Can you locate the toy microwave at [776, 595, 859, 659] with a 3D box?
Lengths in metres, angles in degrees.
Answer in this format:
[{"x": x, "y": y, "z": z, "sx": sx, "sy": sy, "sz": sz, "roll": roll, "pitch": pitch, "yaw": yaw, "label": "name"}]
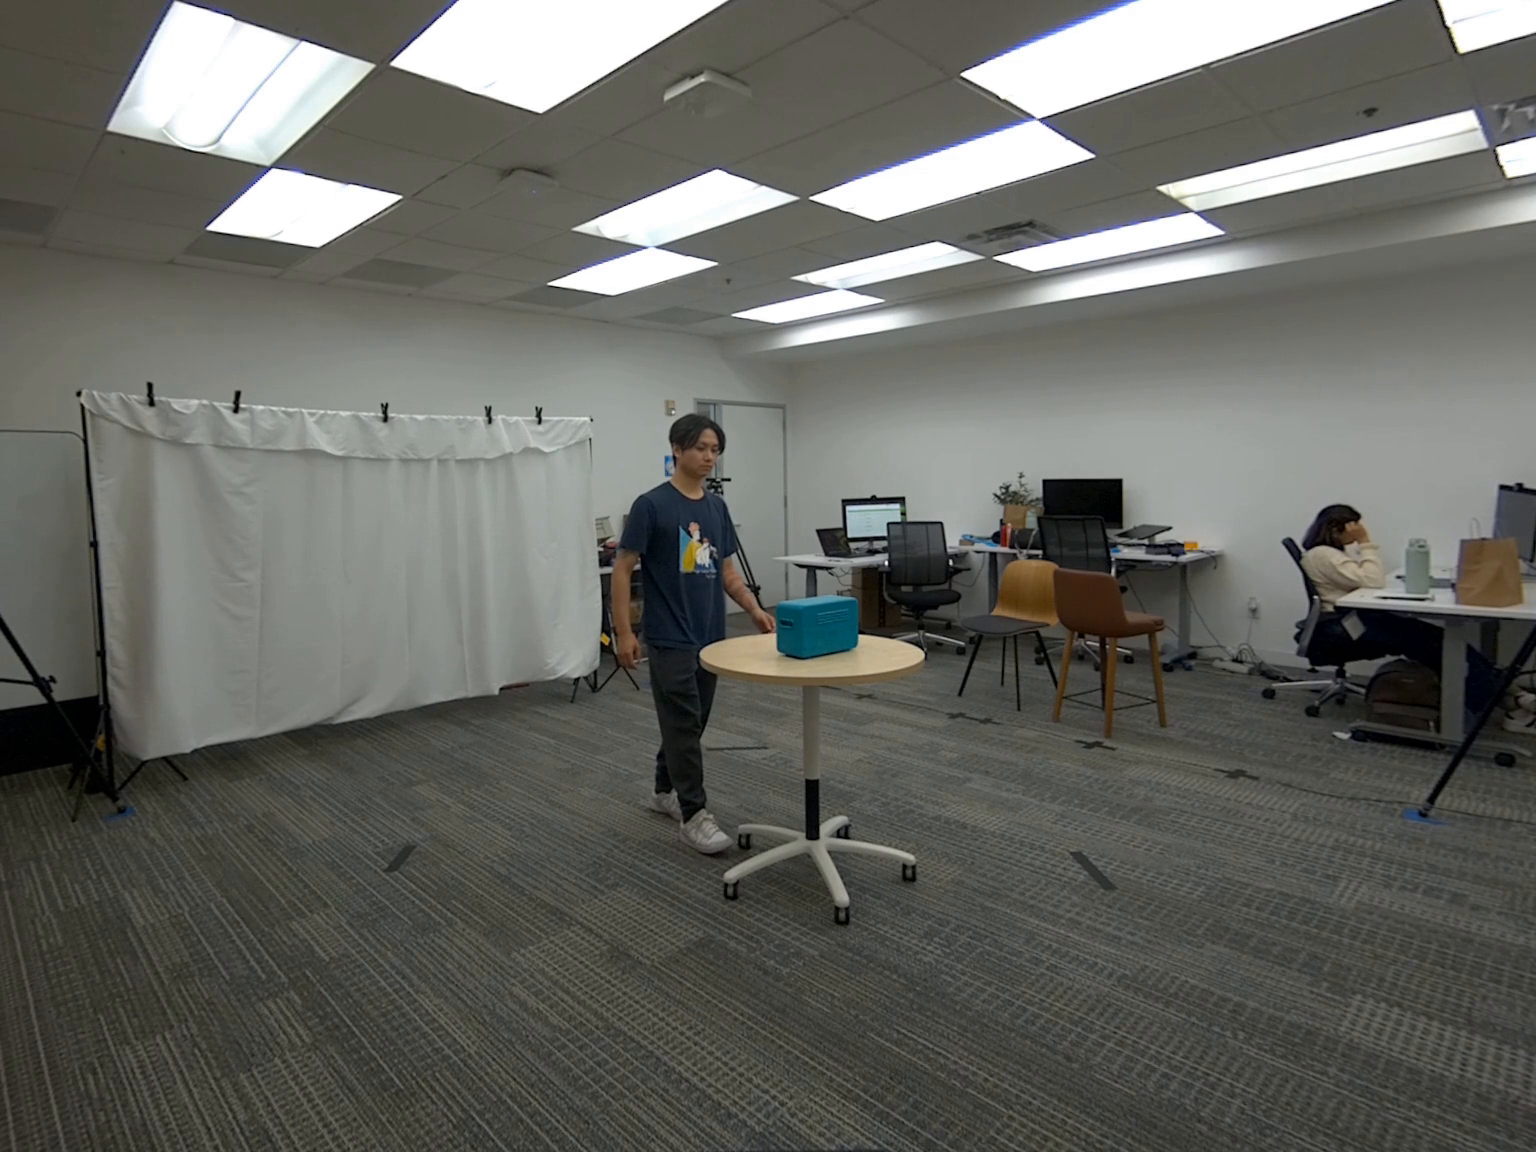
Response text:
[{"x": 0.165, "y": 0.169, "z": 2.929, "sx": 0.279, "sy": 0.183, "sz": 0.157, "roll": -5, "pitch": 6, "yaw": -39, "label": "toy microwave"}]
